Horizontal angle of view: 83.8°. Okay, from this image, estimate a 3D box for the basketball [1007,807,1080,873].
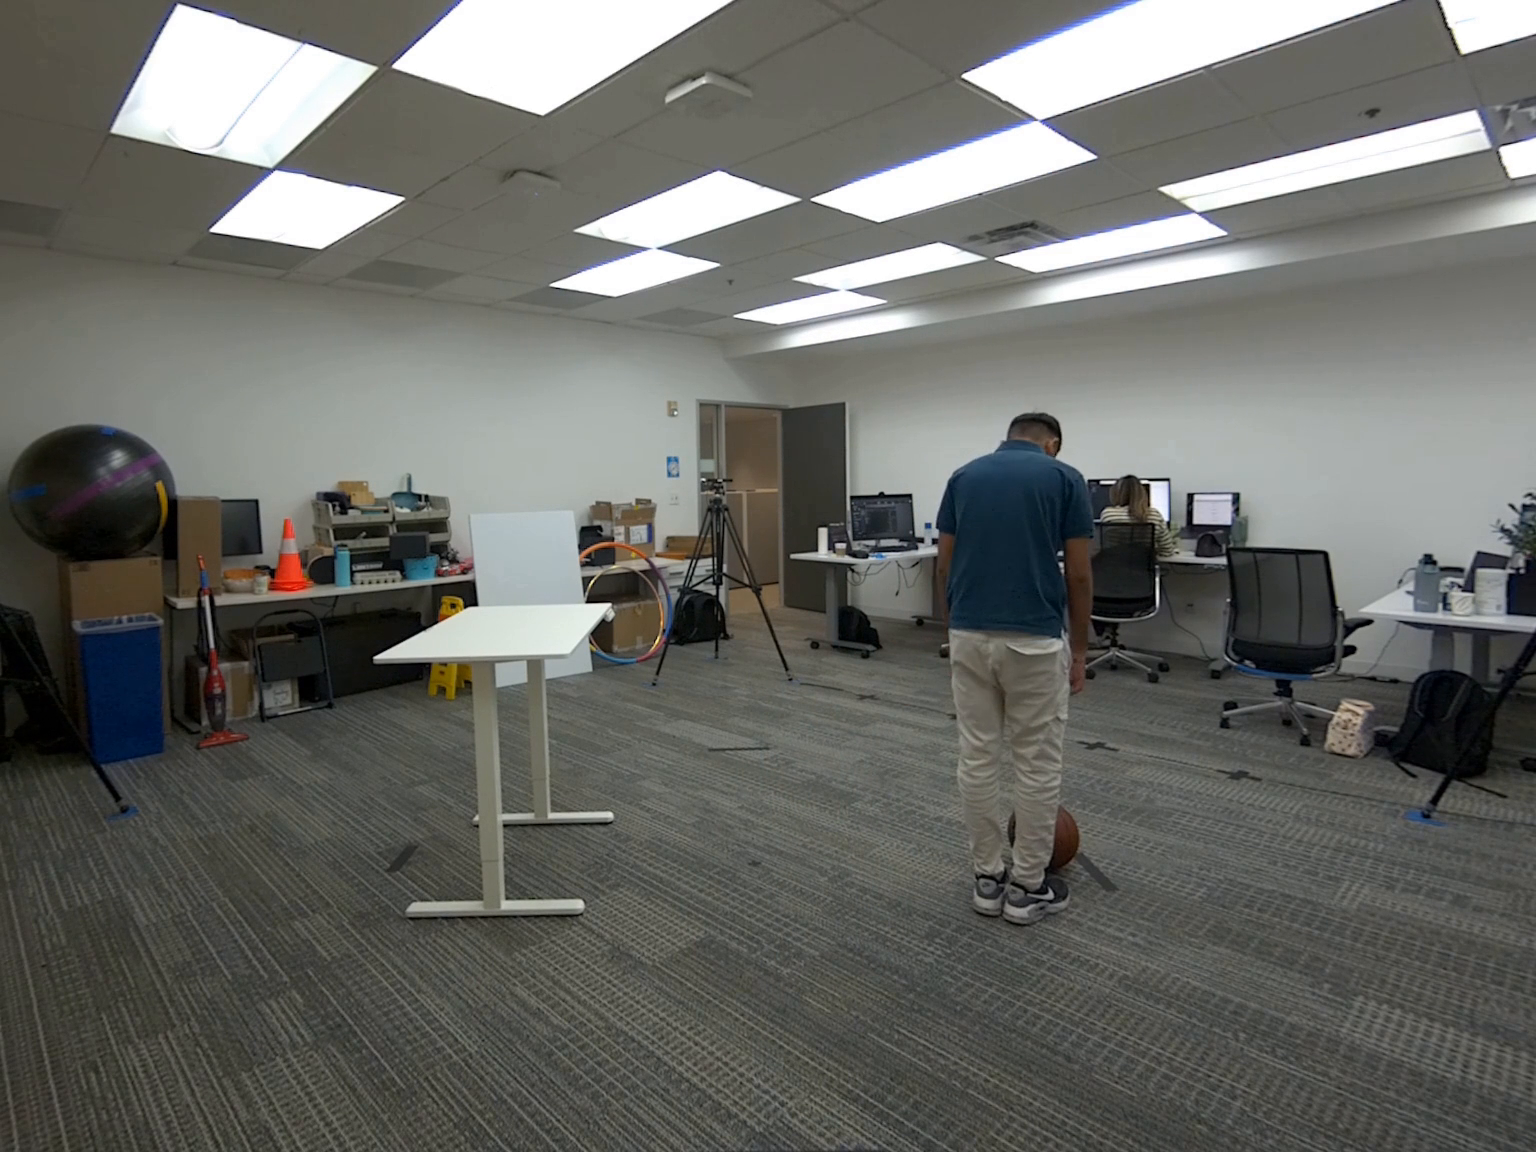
[{"bbox_3d":[0.984,0.917,3.032,0.236,0.235,0.237,-1,5,-2],"label":"basketball"}]
